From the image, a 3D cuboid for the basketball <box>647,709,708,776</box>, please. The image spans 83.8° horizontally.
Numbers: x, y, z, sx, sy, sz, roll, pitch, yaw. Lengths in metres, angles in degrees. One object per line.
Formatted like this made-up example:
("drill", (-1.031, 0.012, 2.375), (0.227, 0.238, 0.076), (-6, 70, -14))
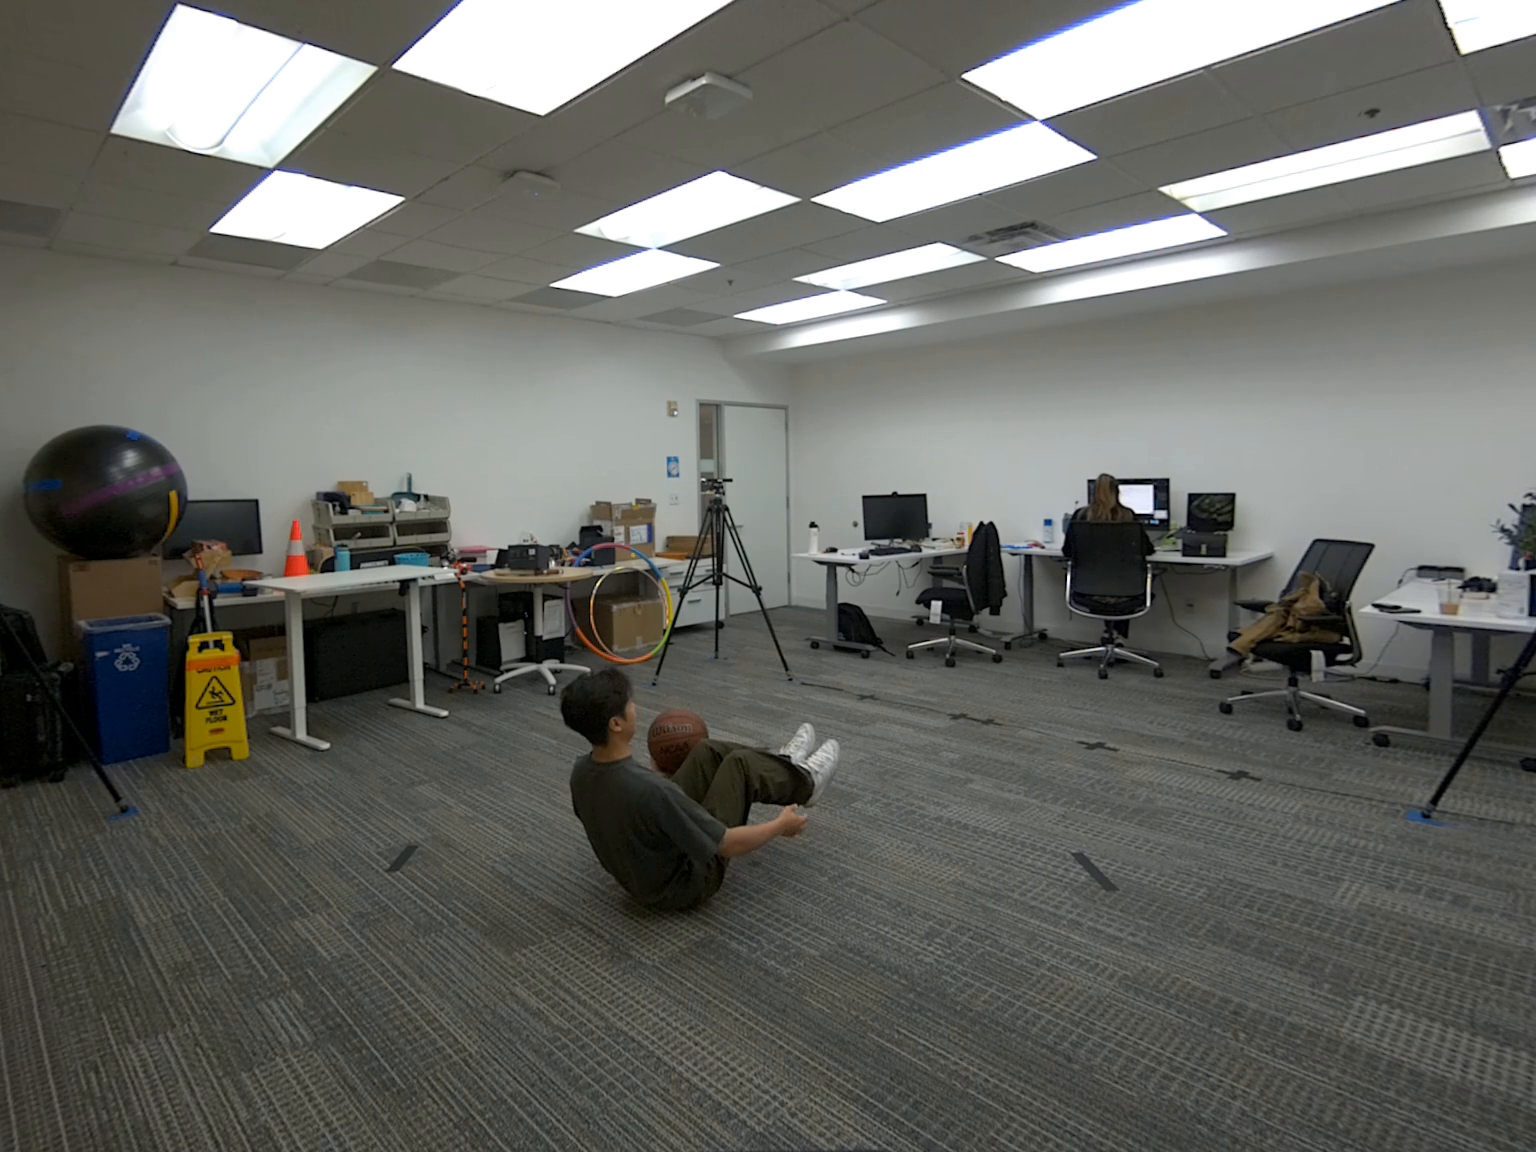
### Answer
("basketball", (-0.338, 0.632, 3.287), (0.236, 0.235, 0.237), (-1, 5, -2))
